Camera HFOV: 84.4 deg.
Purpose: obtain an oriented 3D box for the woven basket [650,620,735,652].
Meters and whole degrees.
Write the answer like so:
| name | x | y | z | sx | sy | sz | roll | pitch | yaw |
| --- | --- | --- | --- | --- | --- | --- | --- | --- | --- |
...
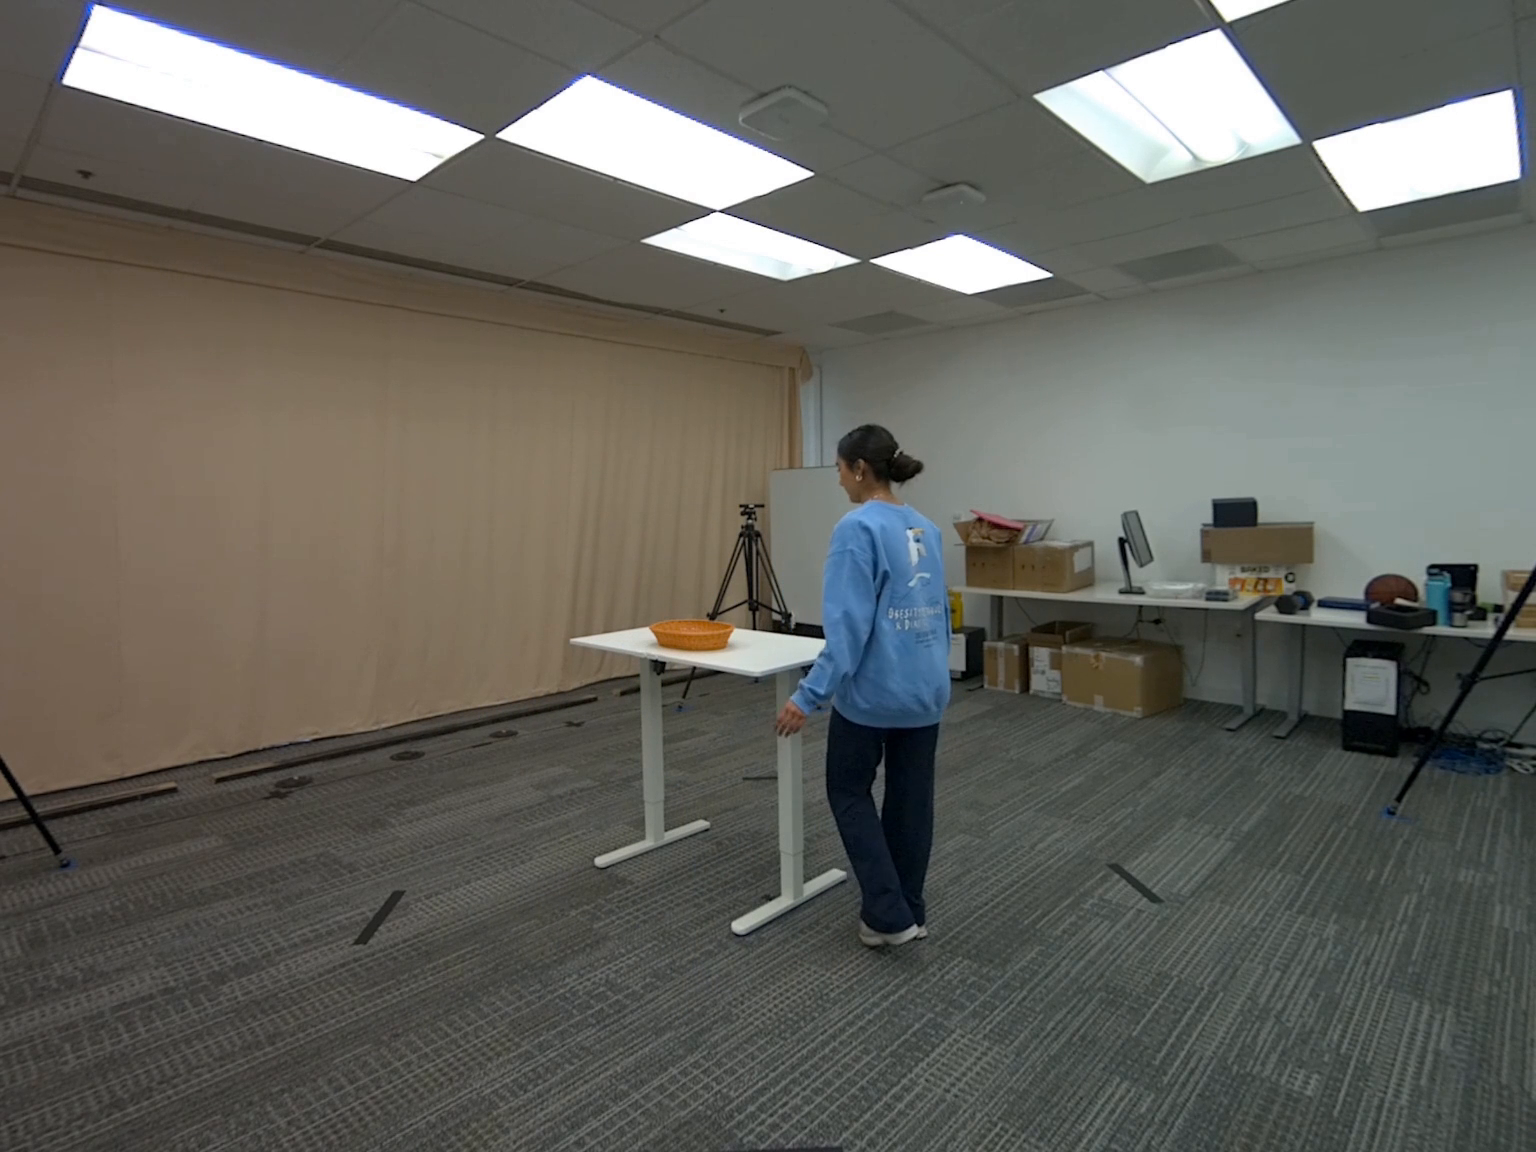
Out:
| name | x | y | z | sx | sy | sz | roll | pitch | yaw |
| --- | --- | --- | --- | --- | --- | --- | --- | --- | --- |
| woven basket | -0.284 | 0.226 | 3.083 | 0.245 | 0.073 | 0.362 | -7 | 7 | -44 |
